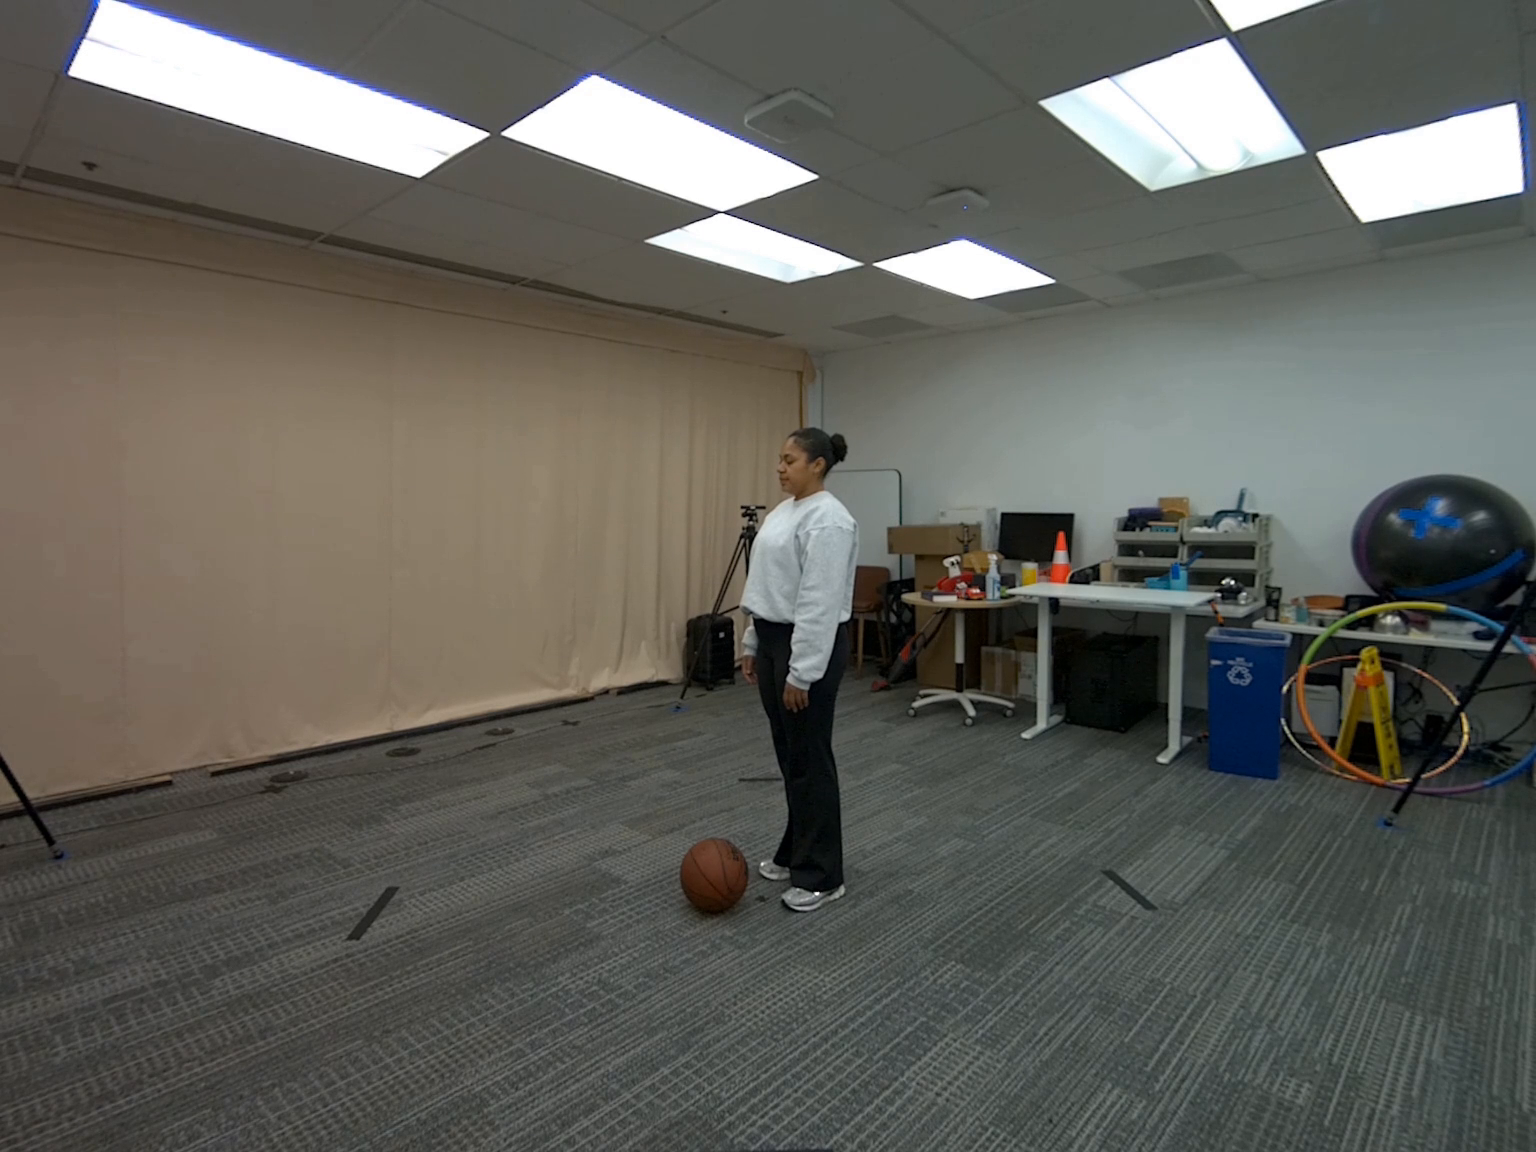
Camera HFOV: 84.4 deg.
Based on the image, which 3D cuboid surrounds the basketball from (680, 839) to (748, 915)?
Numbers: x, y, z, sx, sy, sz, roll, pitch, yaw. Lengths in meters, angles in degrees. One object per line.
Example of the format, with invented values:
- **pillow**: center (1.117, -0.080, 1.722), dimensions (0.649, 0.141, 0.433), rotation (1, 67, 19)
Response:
- **basketball**: center (-0.182, 1.030, 2.909), dimensions (0.236, 0.235, 0.237), rotation (0, 4, -2)
